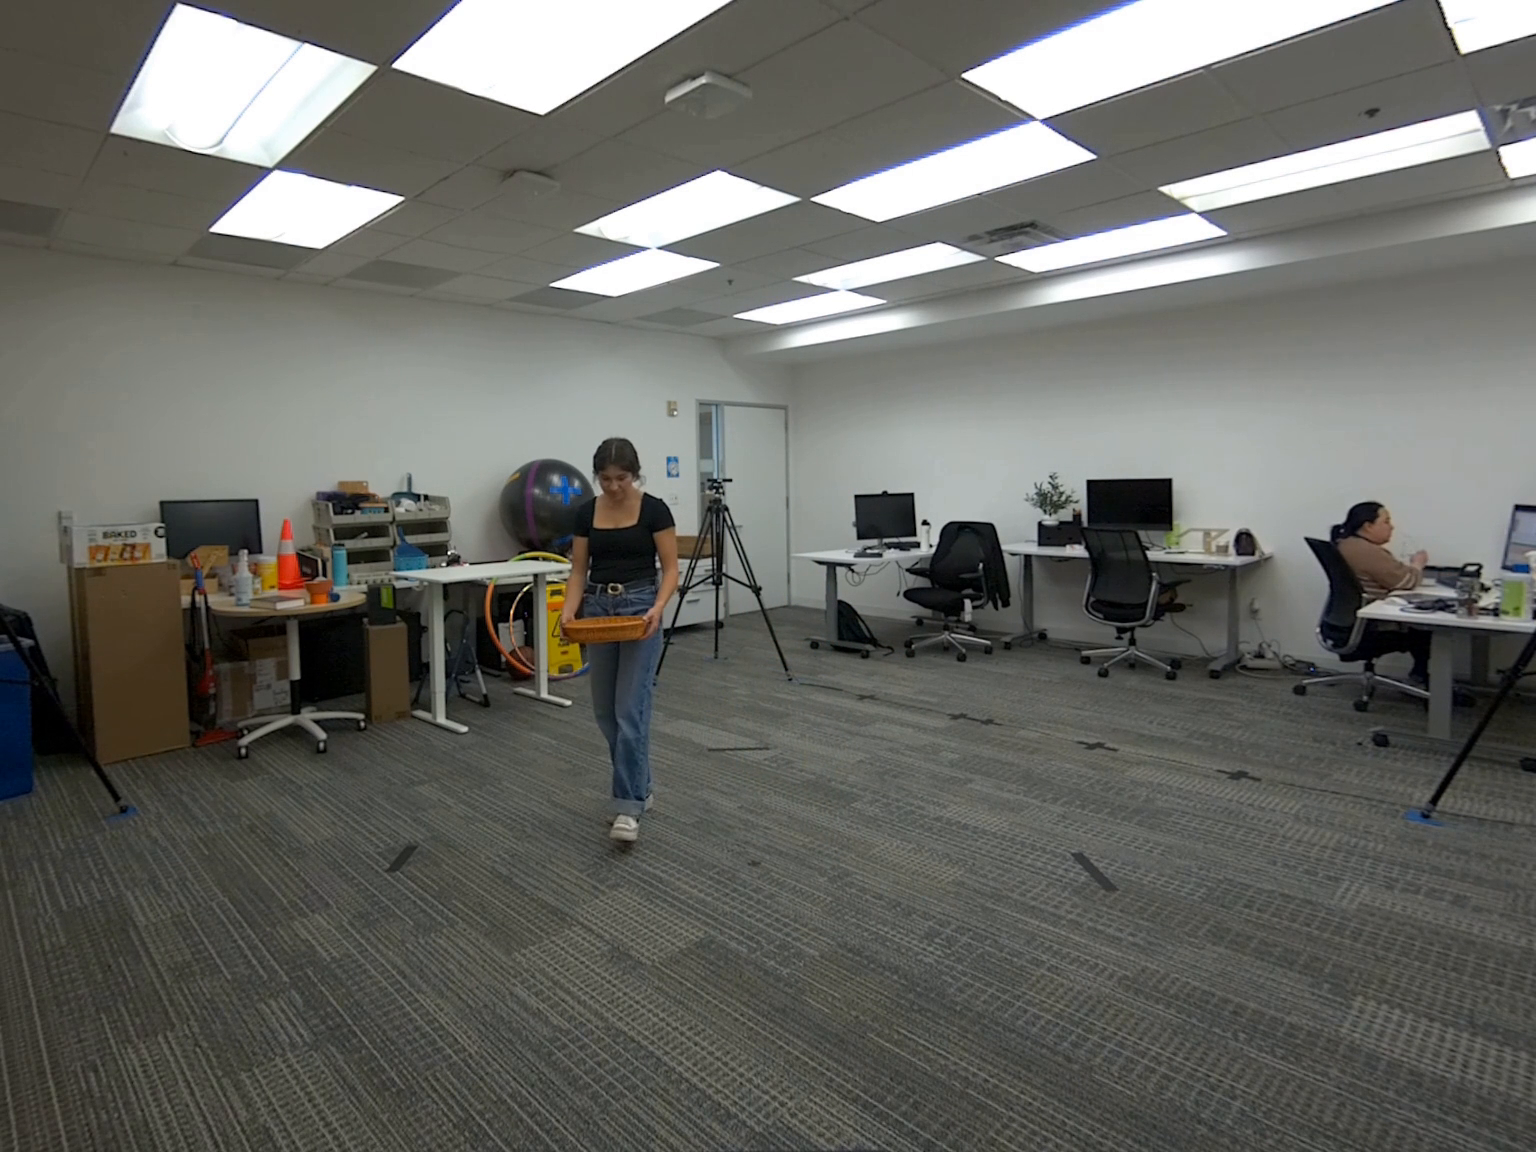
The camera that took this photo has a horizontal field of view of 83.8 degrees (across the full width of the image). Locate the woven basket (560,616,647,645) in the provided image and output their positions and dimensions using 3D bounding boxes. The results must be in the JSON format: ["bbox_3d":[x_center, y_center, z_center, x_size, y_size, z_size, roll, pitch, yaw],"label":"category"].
[{"bbox_3d":[-0.640,0.214,3.309,0.355,0.073,0.250,-3,5,13],"label":"woven basket"}]
